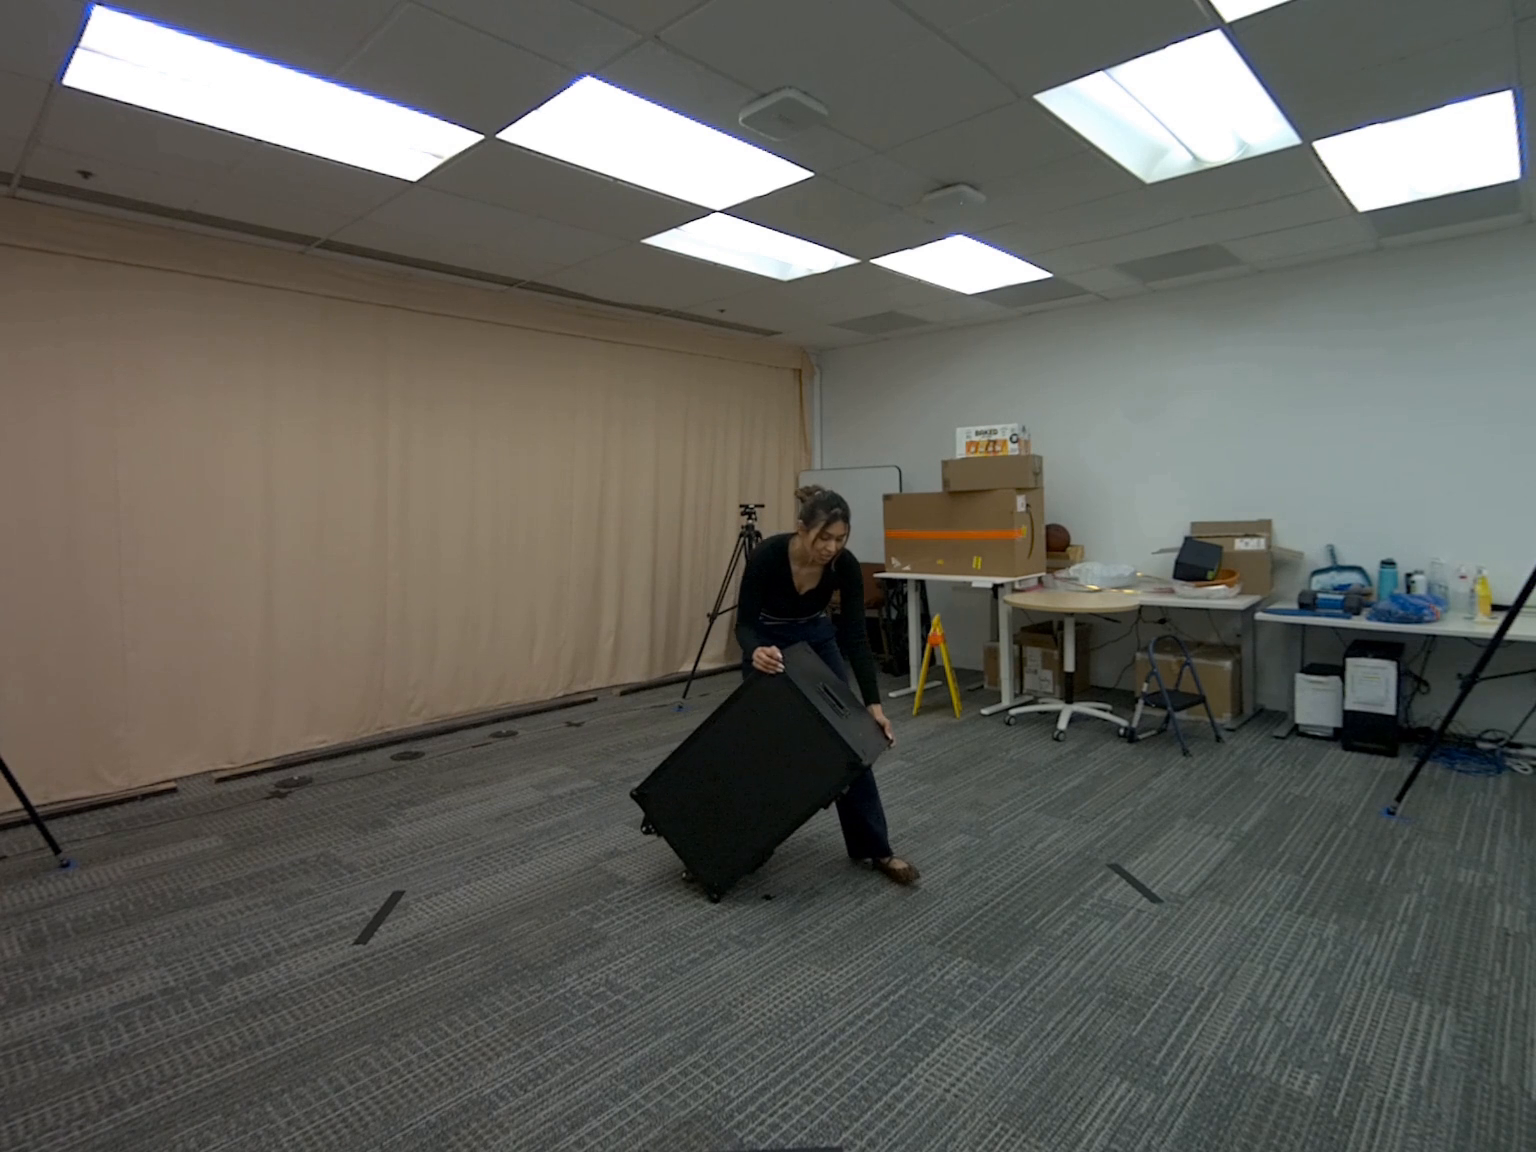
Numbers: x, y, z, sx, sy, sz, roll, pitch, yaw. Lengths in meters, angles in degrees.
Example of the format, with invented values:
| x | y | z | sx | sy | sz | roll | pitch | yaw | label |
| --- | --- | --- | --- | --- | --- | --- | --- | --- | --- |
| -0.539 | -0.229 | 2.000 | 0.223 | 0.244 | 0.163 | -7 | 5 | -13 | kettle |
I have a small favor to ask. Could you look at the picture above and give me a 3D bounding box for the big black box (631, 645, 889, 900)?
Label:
| x | y | z | sx | sy | sz | roll | pitch | yaw | label |
| --- | --- | --- | --- | --- | --- | --- | --- | --- | --- |
| -0.046 | 0.709 | 3.053 | 0.866 | 0.530 | 0.387 | -46 | -15 | 18 | big black box |
